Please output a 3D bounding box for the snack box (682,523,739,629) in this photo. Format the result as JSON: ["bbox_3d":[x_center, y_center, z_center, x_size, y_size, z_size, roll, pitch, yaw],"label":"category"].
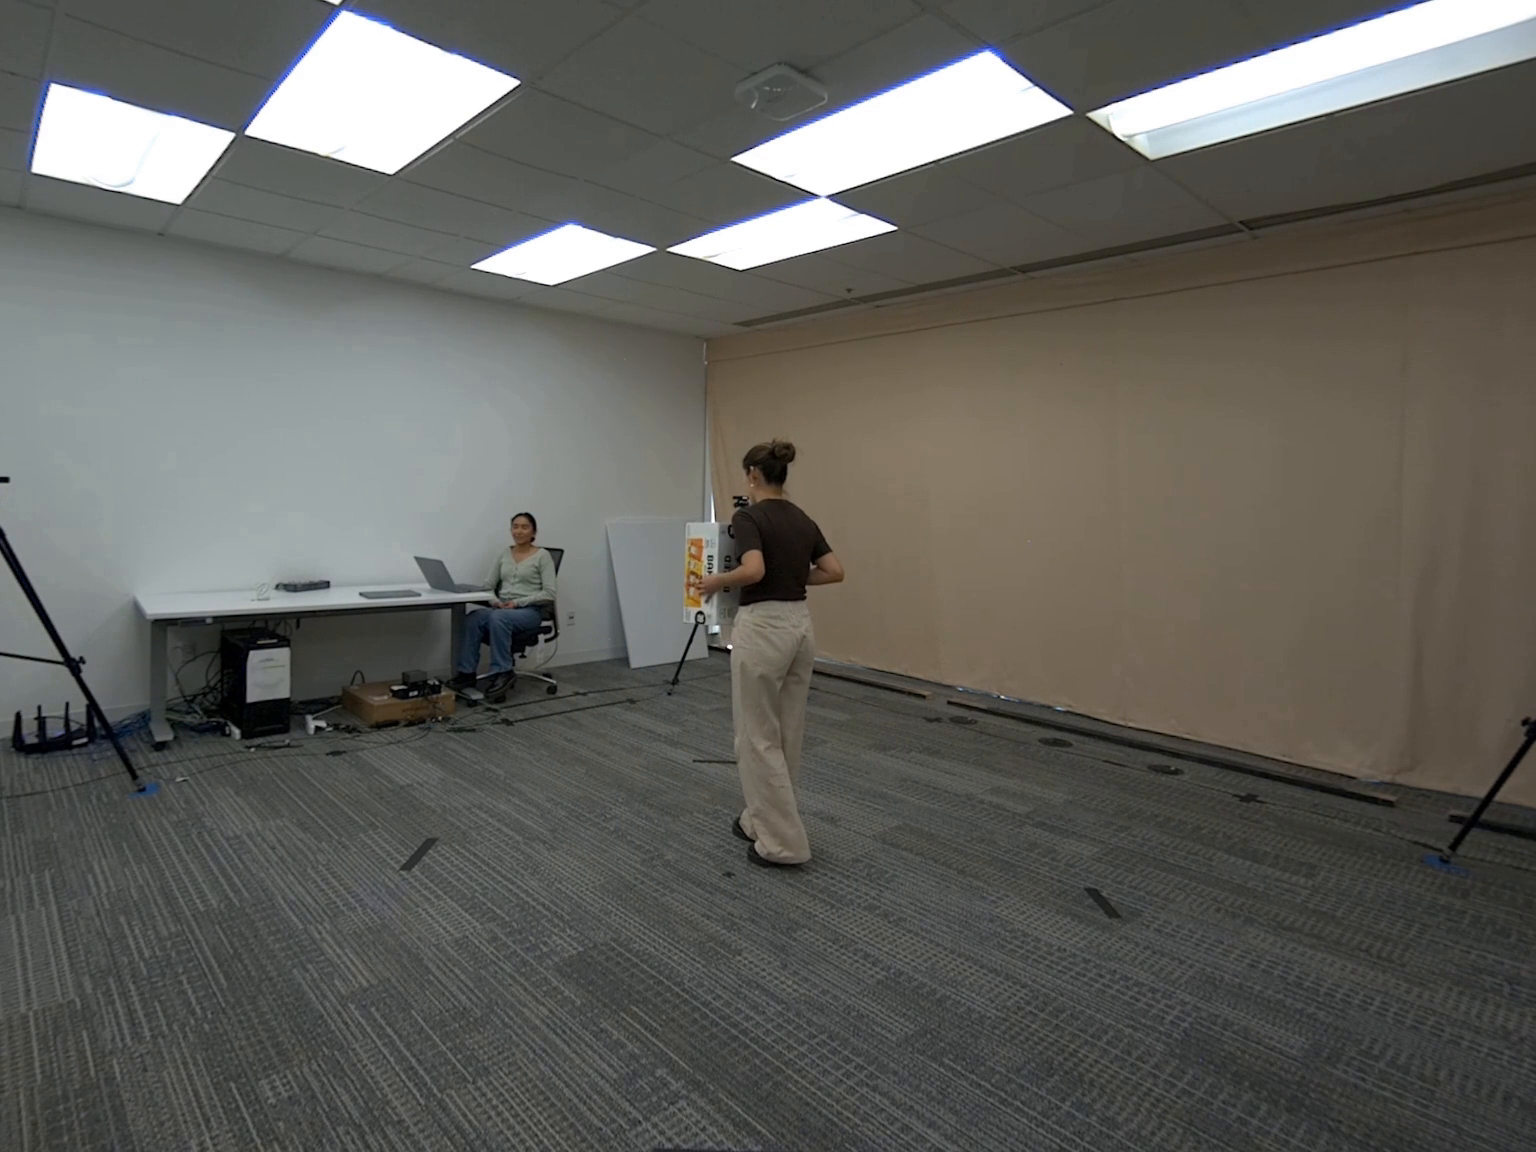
[{"bbox_3d":[-0.152,-0.004,3.465,0.332,0.405,0.210,2,-1,-44],"label":"snack box"}]
